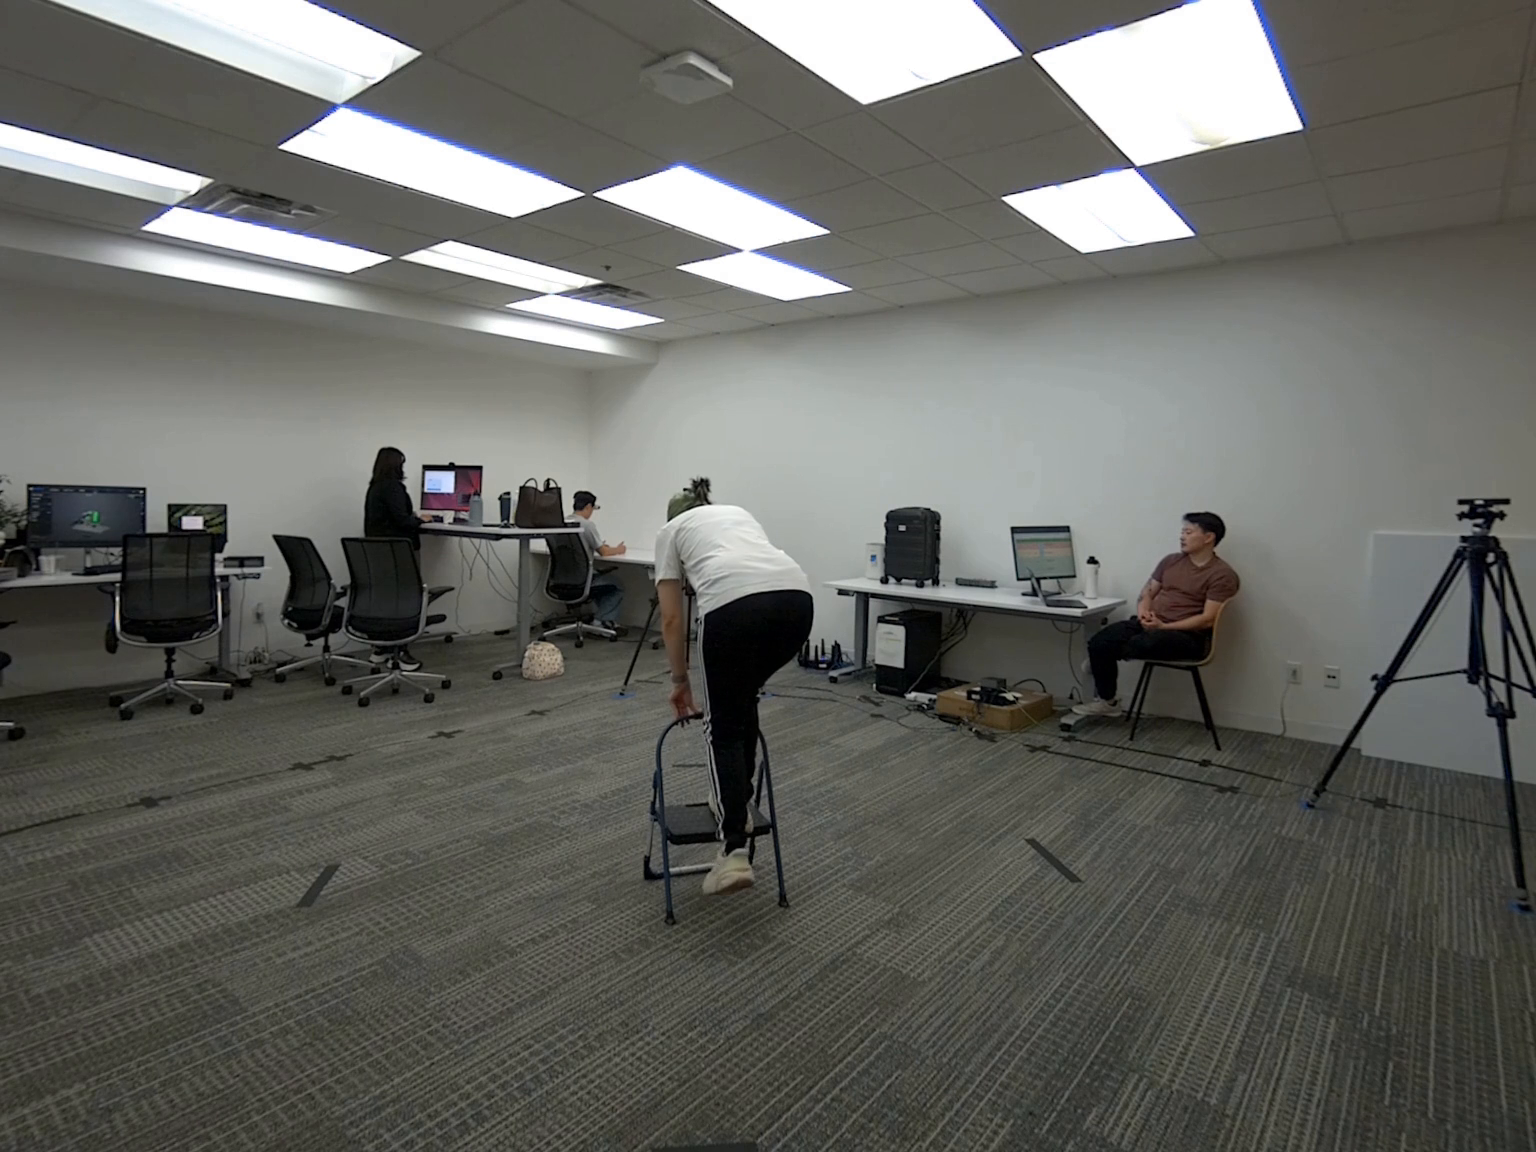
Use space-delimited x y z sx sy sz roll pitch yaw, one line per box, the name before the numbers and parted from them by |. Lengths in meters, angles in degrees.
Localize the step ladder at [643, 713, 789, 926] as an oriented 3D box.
step ladder | -0.195 0.788 2.922 0.421 0.604 0.358 0 4 -22
